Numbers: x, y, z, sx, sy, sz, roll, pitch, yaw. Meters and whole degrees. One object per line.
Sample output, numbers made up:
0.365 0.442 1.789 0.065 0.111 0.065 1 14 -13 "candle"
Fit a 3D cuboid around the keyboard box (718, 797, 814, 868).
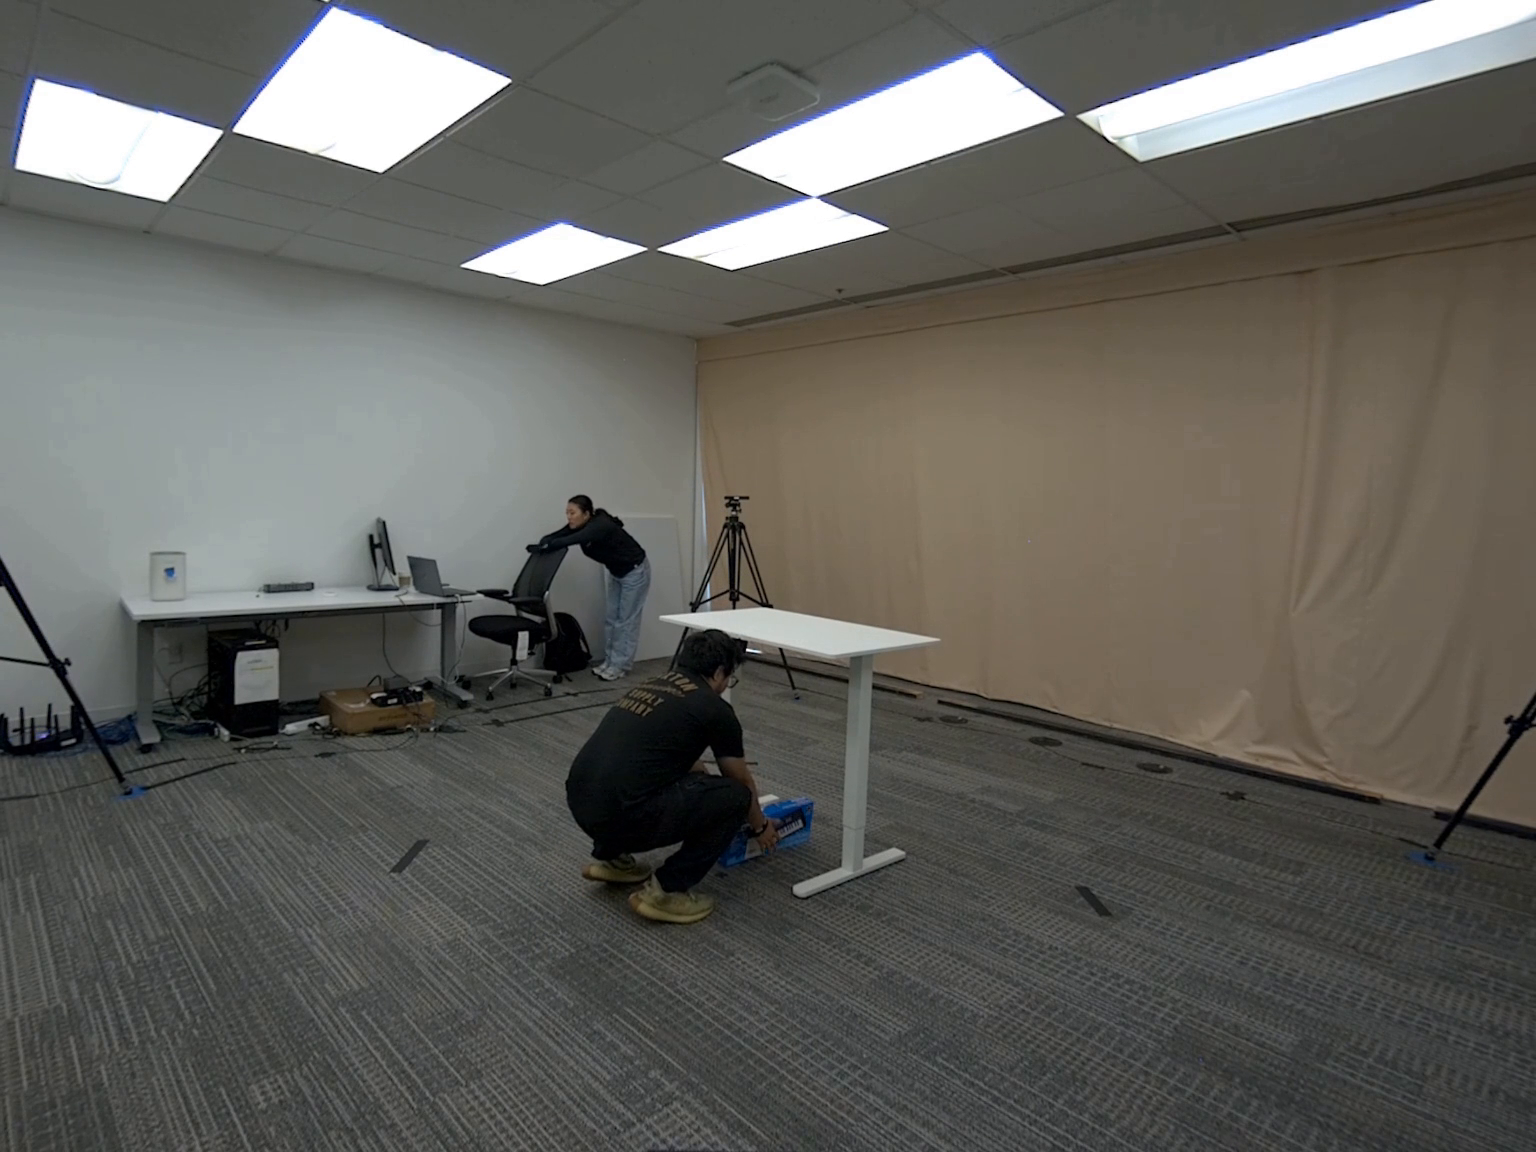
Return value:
-0.013 1.001 3.309 0.427 0.175 0.061 -3 13 -39 "keyboard box"
